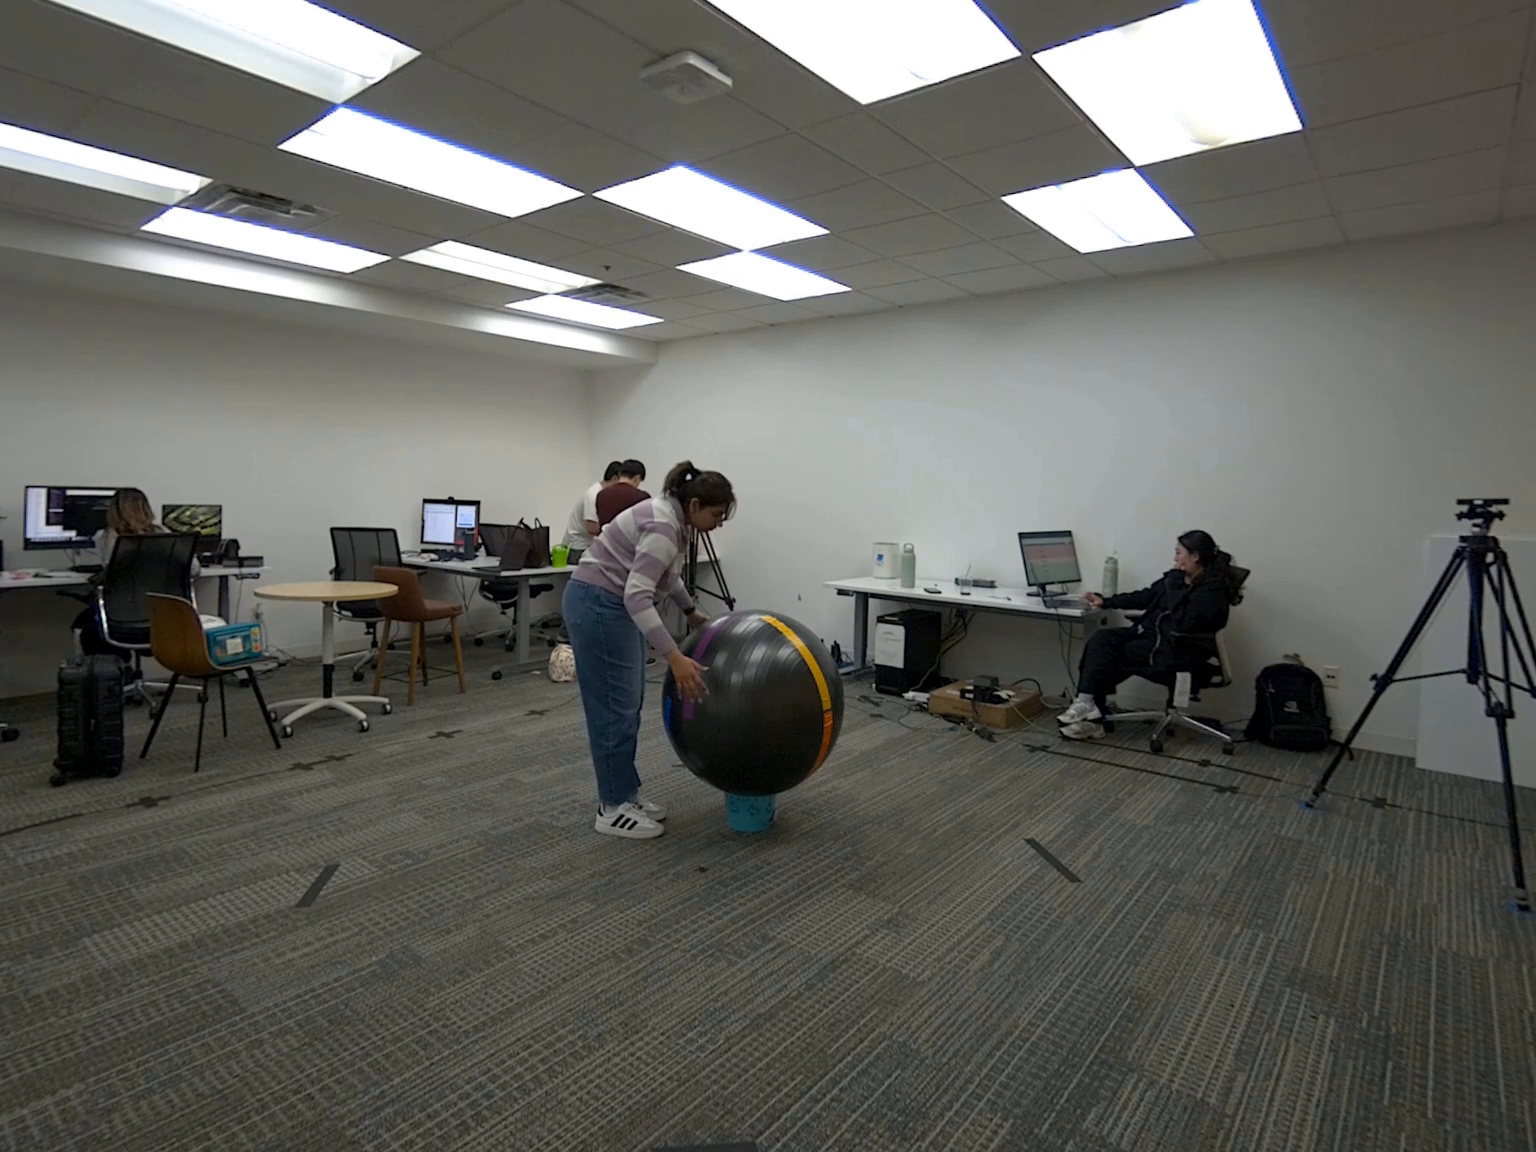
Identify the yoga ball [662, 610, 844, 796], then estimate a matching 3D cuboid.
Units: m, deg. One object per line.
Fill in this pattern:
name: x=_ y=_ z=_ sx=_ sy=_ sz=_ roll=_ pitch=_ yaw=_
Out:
yoga ball: x=-0.075 y=0.520 z=3.532 sx=0.757 sy=0.756 sz=0.761 roll=1 pitch=4 yaw=-2
